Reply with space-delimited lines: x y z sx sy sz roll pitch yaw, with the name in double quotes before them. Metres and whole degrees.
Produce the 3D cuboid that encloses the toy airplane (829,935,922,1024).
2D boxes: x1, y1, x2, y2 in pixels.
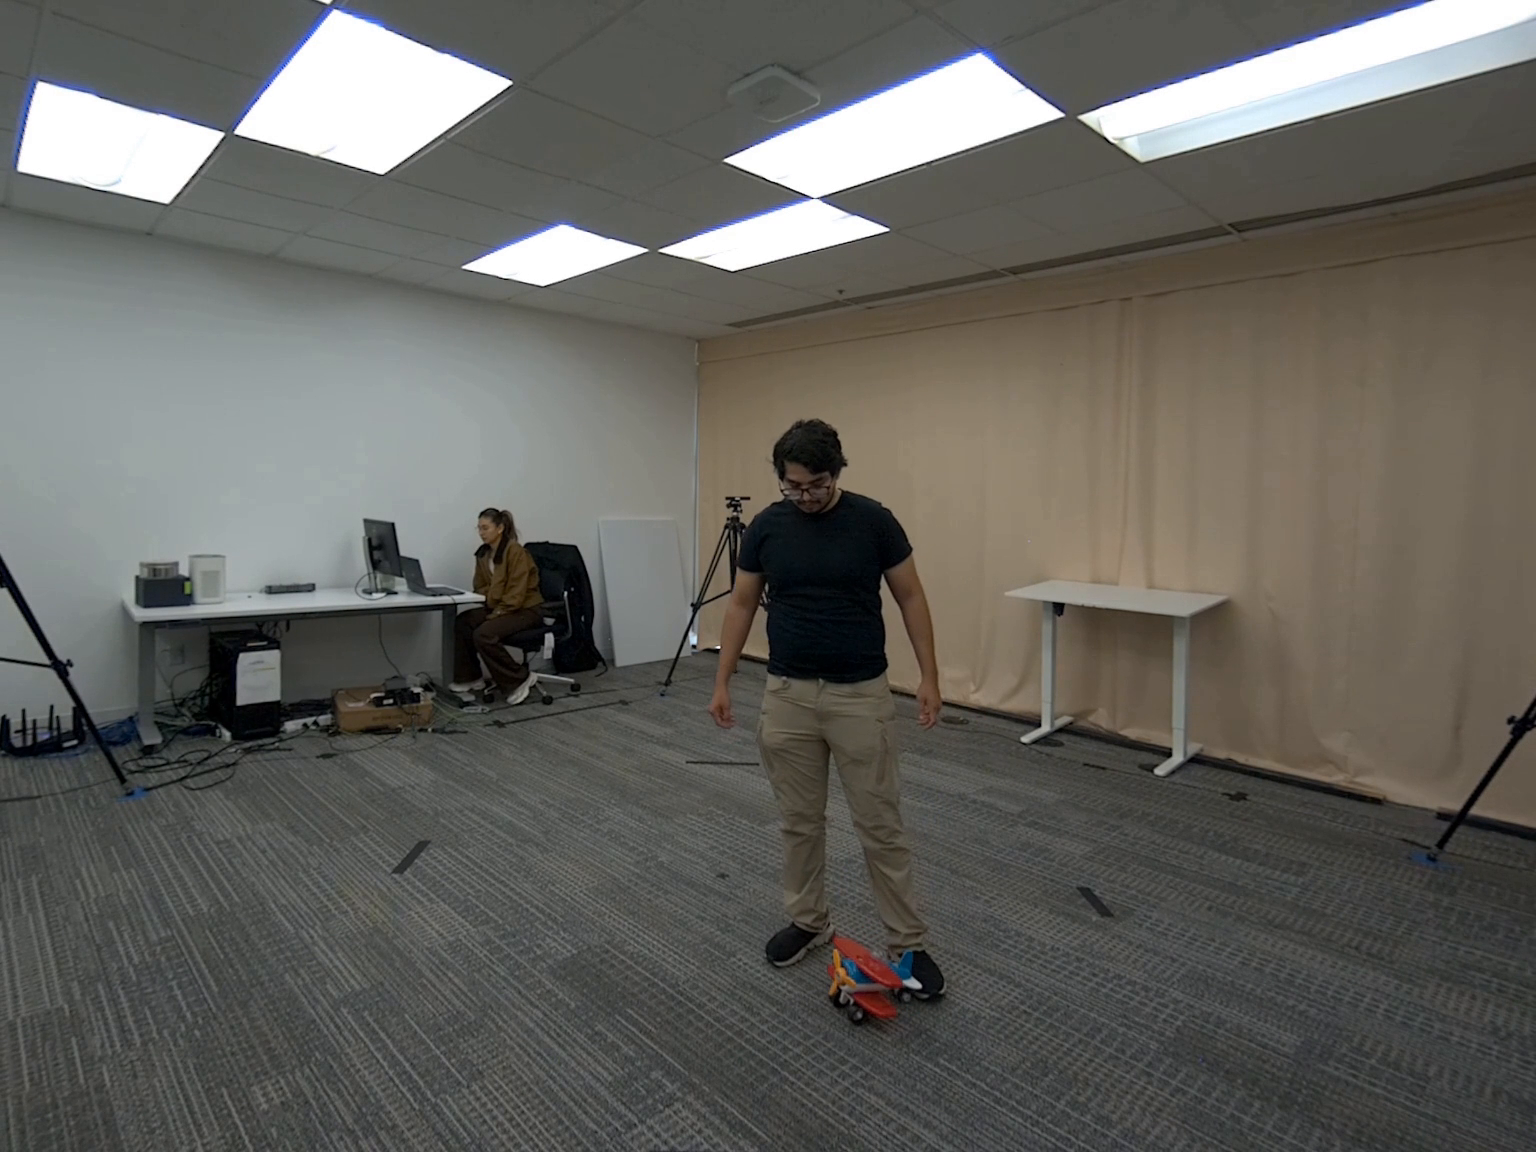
"toy airplane" 0.279 1.118 2.323 0.257 0.156 0.254 5 7 32
